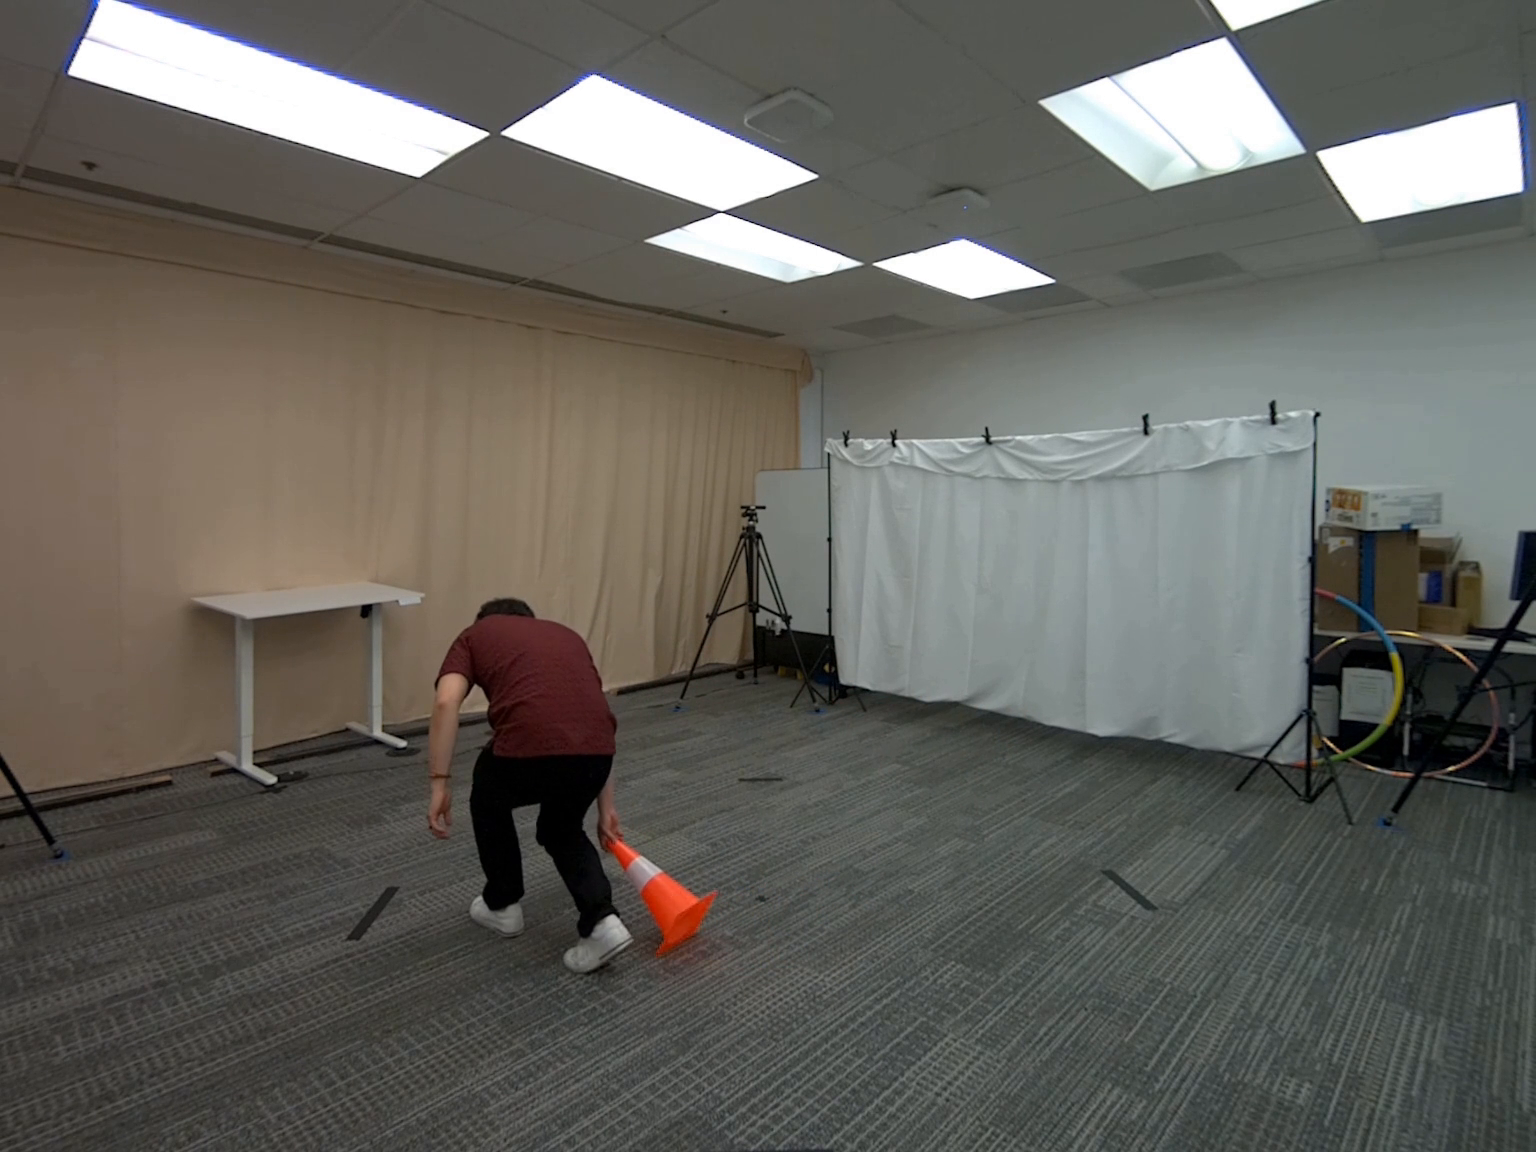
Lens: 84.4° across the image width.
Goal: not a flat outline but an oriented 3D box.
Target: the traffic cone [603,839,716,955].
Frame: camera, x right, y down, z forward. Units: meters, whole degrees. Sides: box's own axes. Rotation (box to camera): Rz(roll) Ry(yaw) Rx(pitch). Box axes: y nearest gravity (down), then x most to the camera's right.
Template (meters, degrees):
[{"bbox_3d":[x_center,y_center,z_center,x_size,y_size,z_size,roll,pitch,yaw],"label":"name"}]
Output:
[{"bbox_3d":[-0.389,0.994,2.709,0.395,0.202,0.200,35,34,26],"label":"traffic cone"}]
